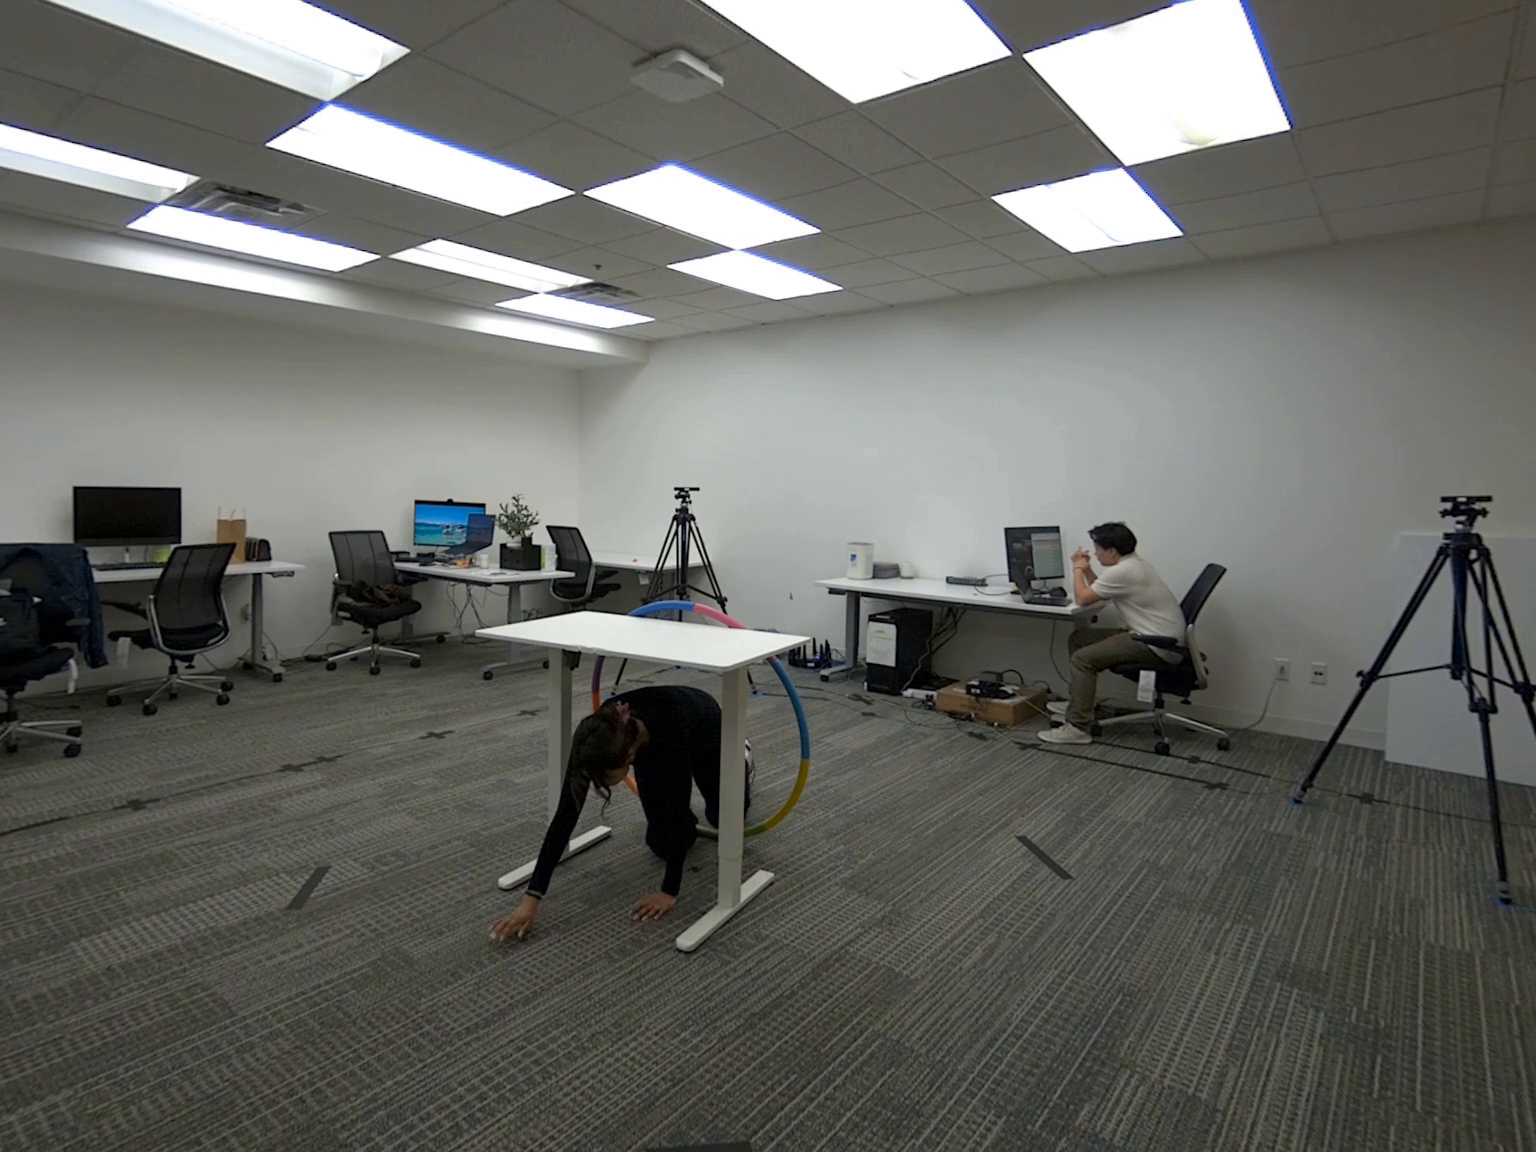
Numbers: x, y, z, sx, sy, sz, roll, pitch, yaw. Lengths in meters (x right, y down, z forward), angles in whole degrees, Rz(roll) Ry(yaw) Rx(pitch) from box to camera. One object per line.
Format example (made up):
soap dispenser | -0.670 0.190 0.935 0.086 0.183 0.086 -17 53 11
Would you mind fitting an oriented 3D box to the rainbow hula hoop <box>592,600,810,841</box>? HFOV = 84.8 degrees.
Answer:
rainbow hula hoop | -0.298 0.564 3.308 1.007 0.966 0.035 3 14 30
